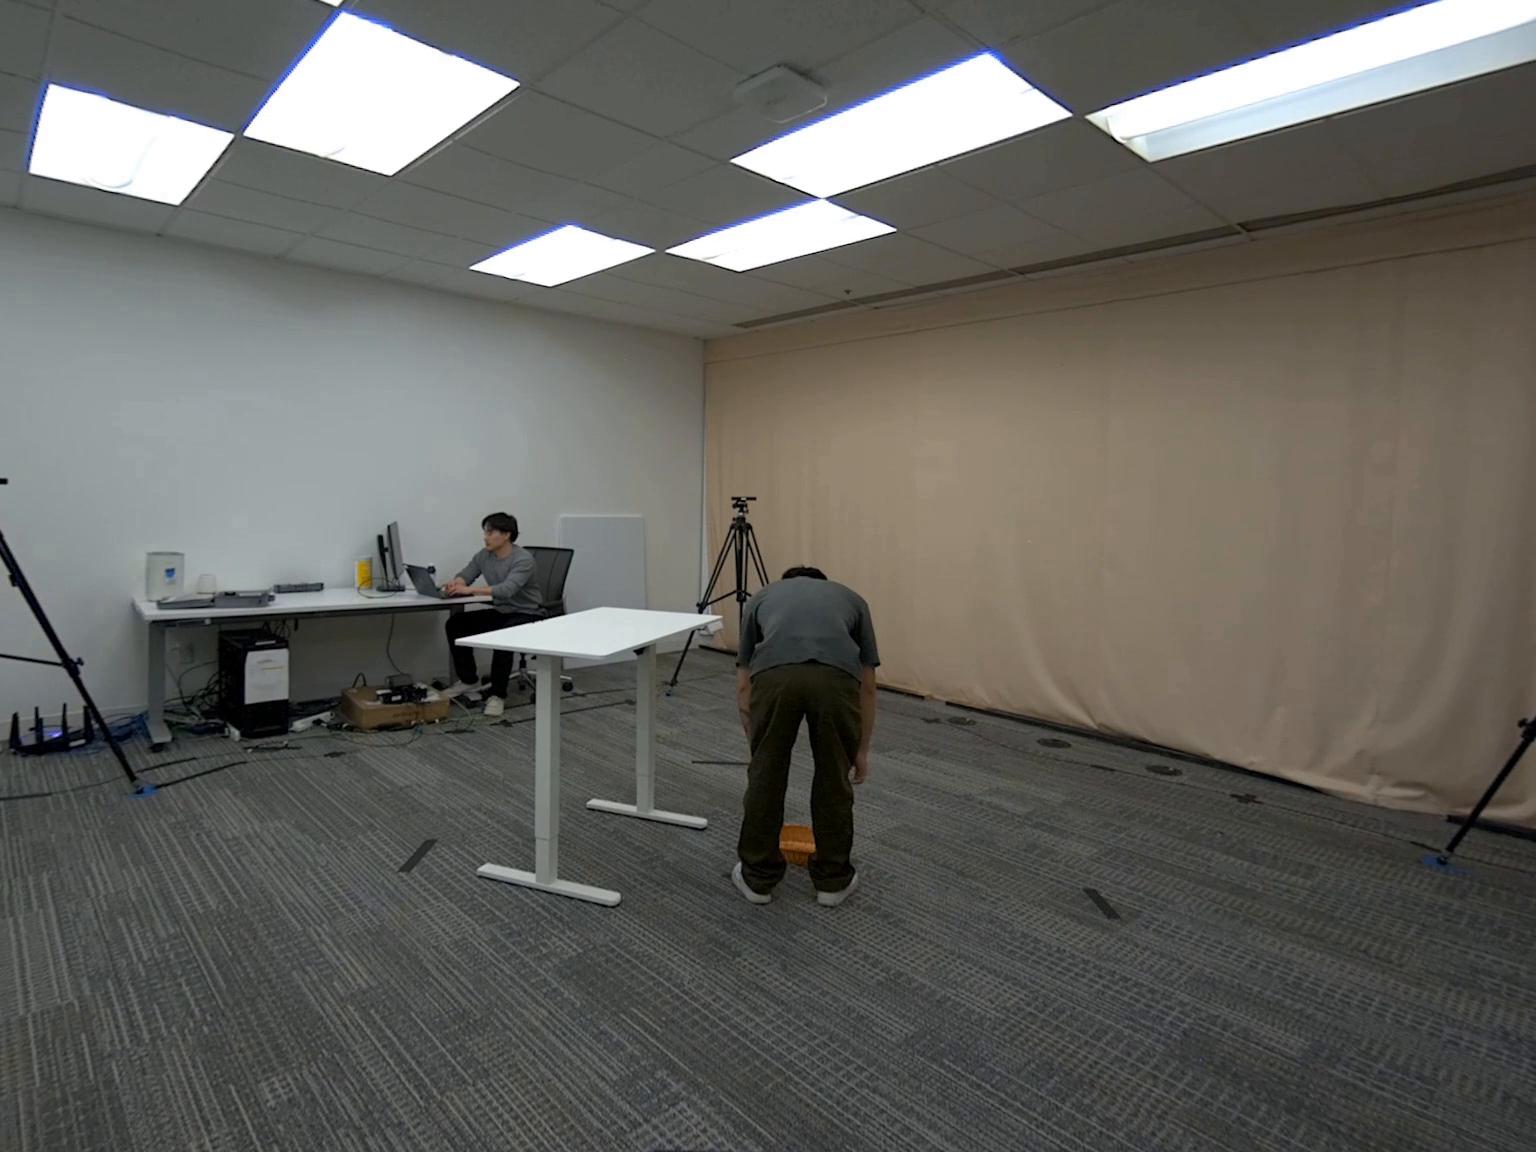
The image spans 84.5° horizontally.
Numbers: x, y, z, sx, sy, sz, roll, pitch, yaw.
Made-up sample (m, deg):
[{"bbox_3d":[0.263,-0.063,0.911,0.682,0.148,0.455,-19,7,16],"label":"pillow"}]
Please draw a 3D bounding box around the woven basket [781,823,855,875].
[{"bbox_3d":[0.132,1.063,3.302,0.356,0.073,0.249,3,5,20],"label":"woven basket"}]
